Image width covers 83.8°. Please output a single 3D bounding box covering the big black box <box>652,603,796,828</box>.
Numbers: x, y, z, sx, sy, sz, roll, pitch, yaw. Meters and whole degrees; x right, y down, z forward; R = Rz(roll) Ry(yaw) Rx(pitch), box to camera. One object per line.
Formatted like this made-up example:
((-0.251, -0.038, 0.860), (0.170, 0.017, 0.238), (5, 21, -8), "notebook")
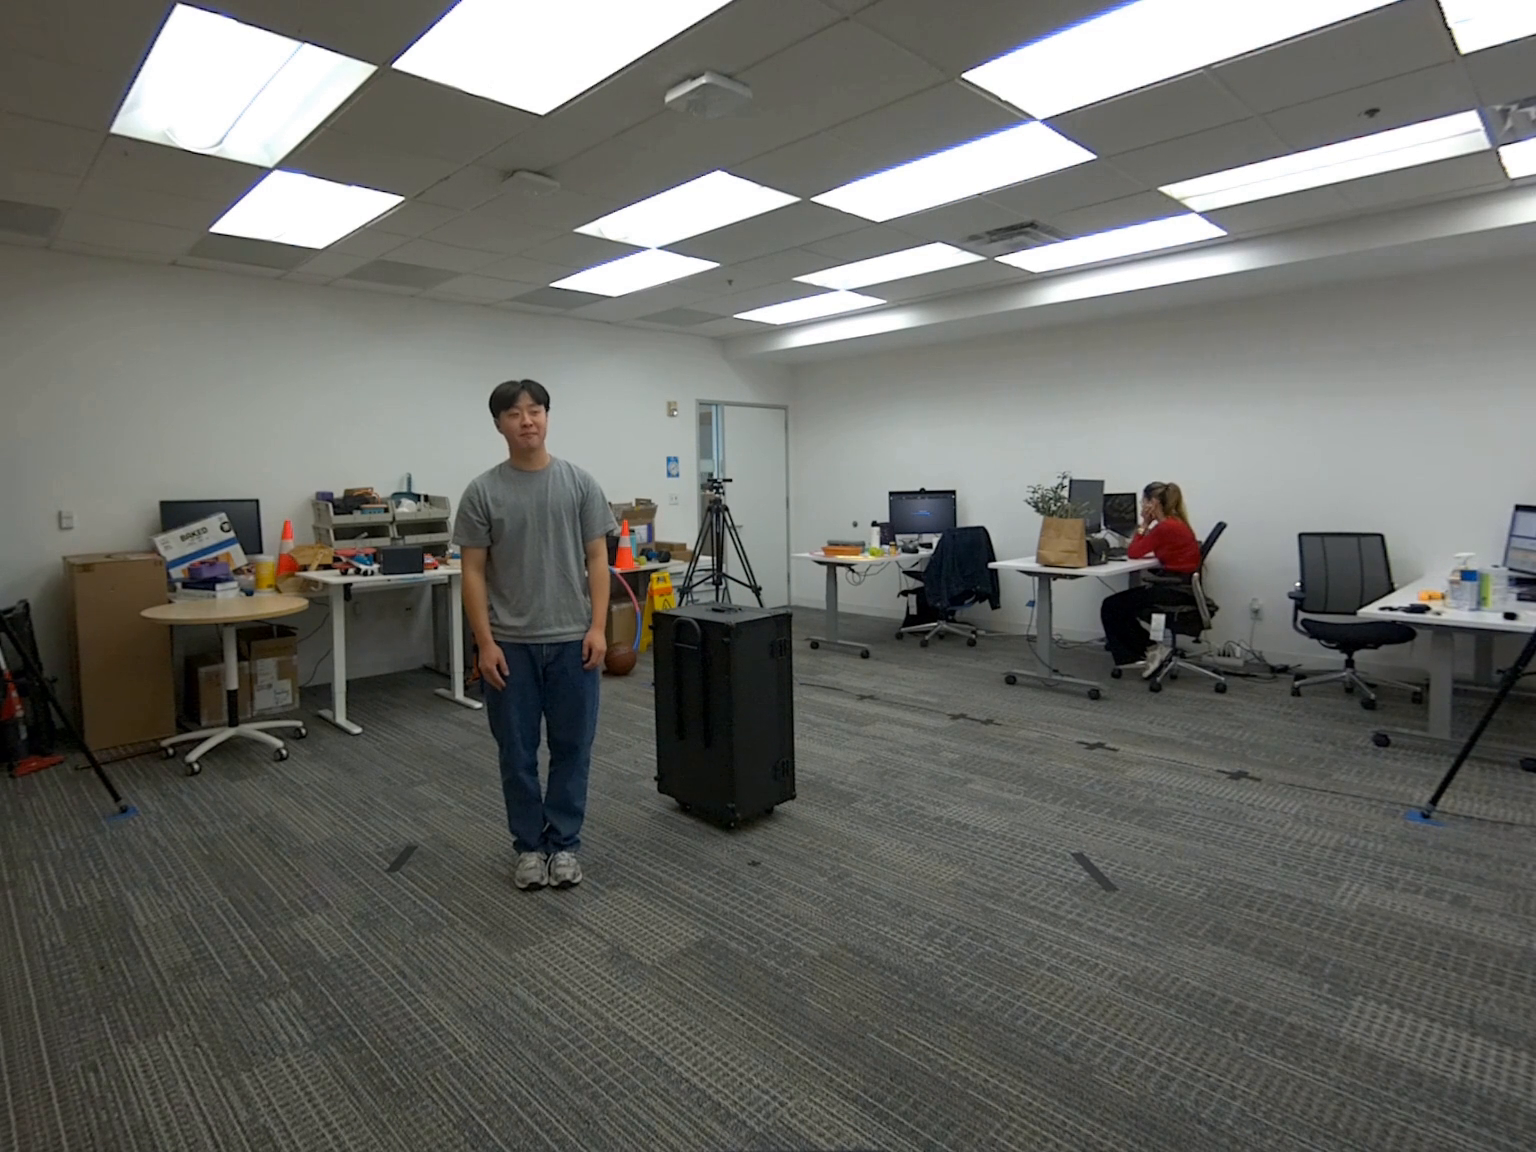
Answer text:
((-0.190, 0.570, 3.564), (0.386, 0.858, 0.537), (-6, 6, -44), "big black box")
